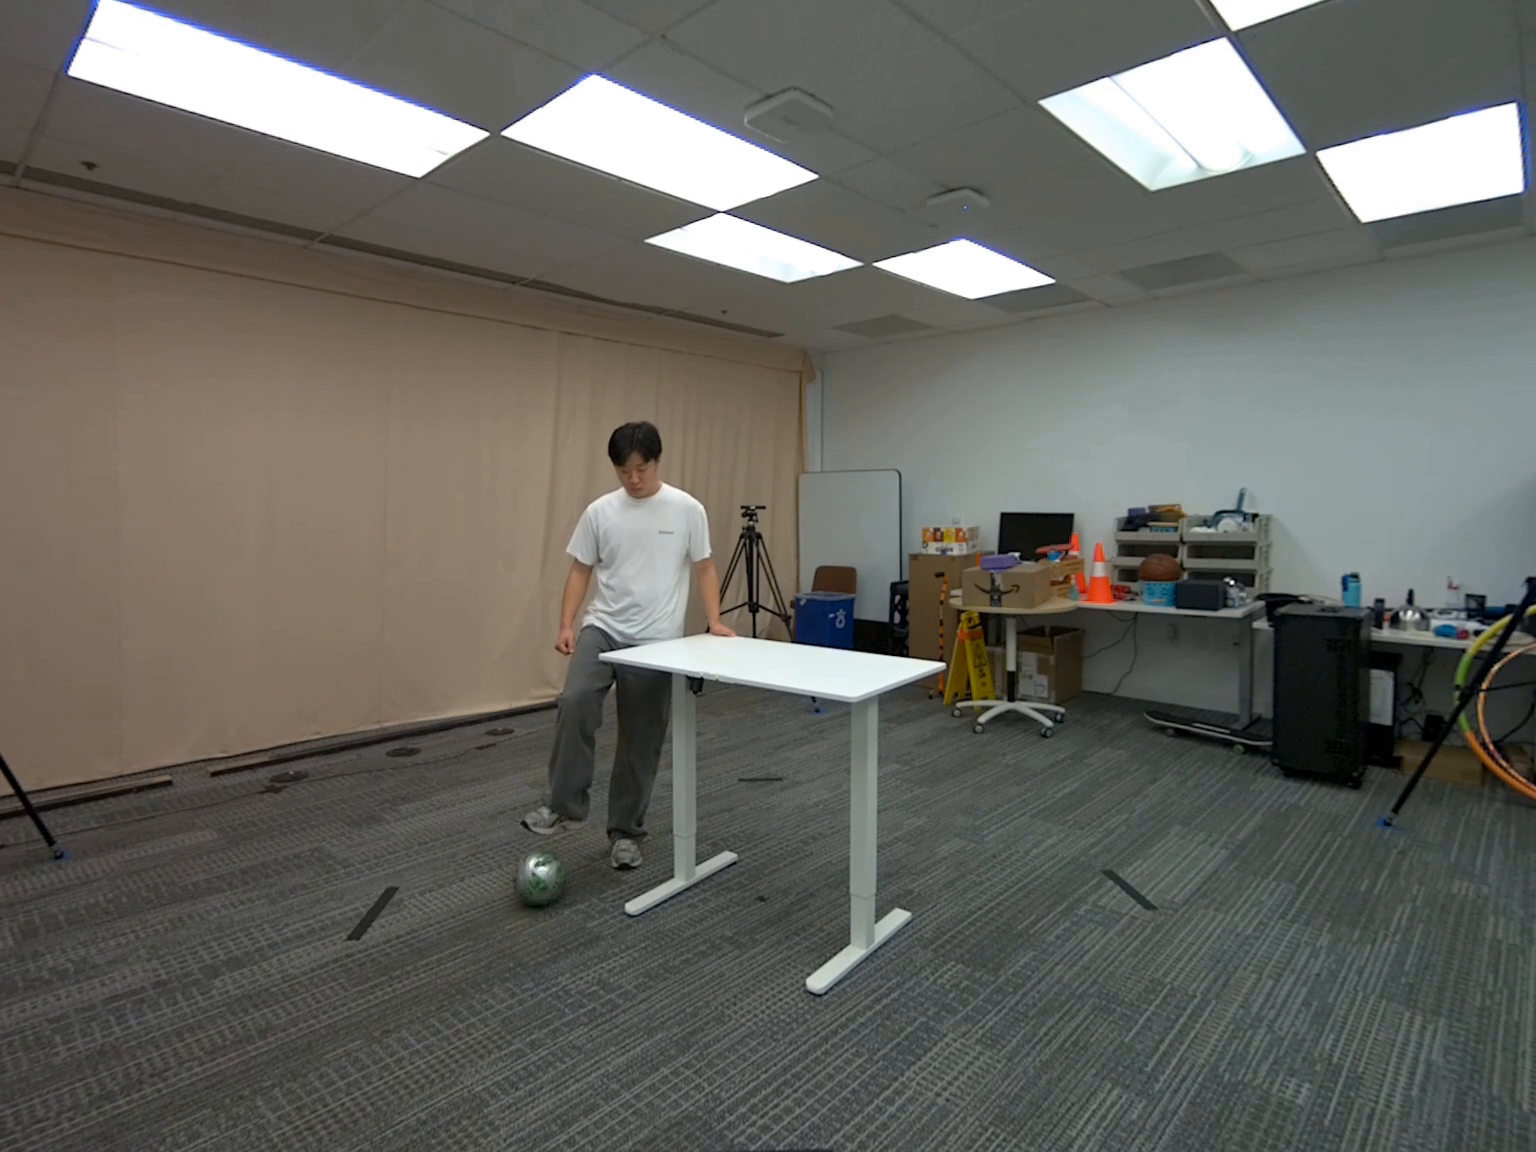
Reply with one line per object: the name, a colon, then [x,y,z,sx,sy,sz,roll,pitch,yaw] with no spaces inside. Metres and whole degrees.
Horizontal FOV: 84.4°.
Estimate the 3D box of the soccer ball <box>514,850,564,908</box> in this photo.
soccer ball: [-0.802,1.051,2.957,0.187,0.187,0.188,0,4,-2]
